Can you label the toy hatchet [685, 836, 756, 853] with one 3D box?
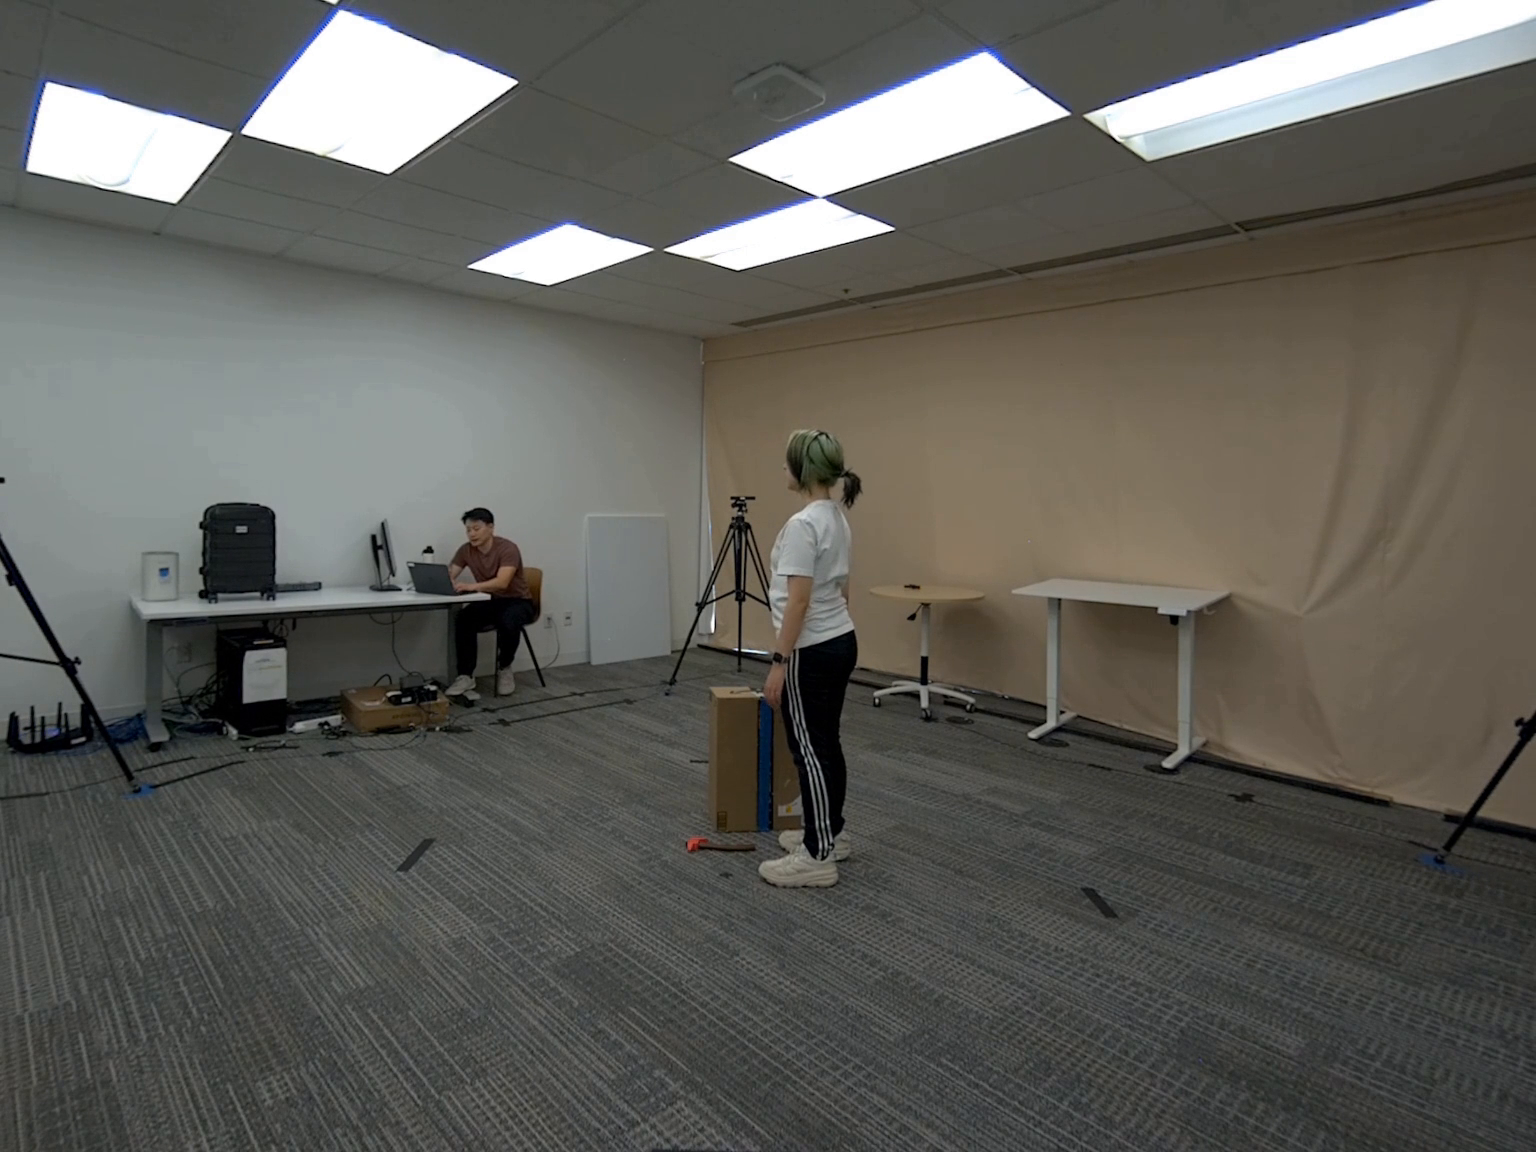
[{"bbox_3d":[-0.200,1.064,3.359,0.268,0.029,0.132,2,3,-10],"label":"toy hatchet"}]
